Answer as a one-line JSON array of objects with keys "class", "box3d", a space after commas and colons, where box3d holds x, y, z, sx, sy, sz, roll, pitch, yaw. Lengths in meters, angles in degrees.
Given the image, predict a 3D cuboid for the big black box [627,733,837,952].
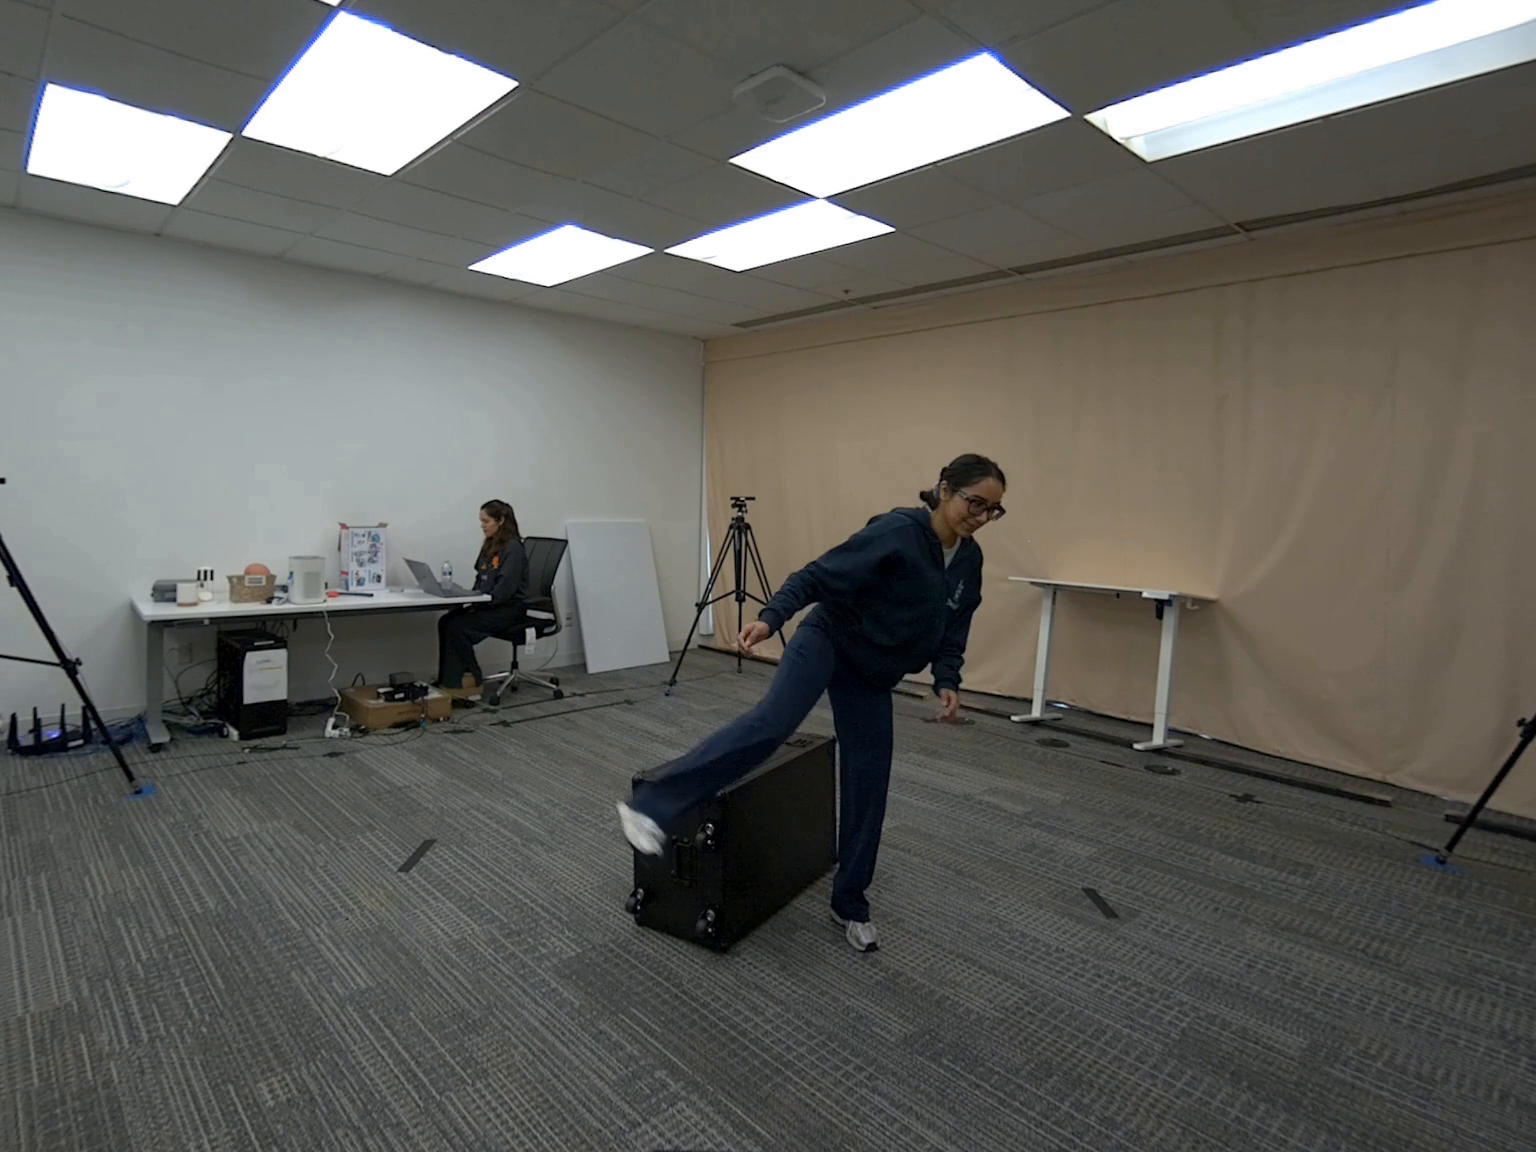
[{"class": "big black box", "box3d": [-0.118, 0.868, 2.940, 0.404, 0.520, 0.845, 1, 4, 30]}]
